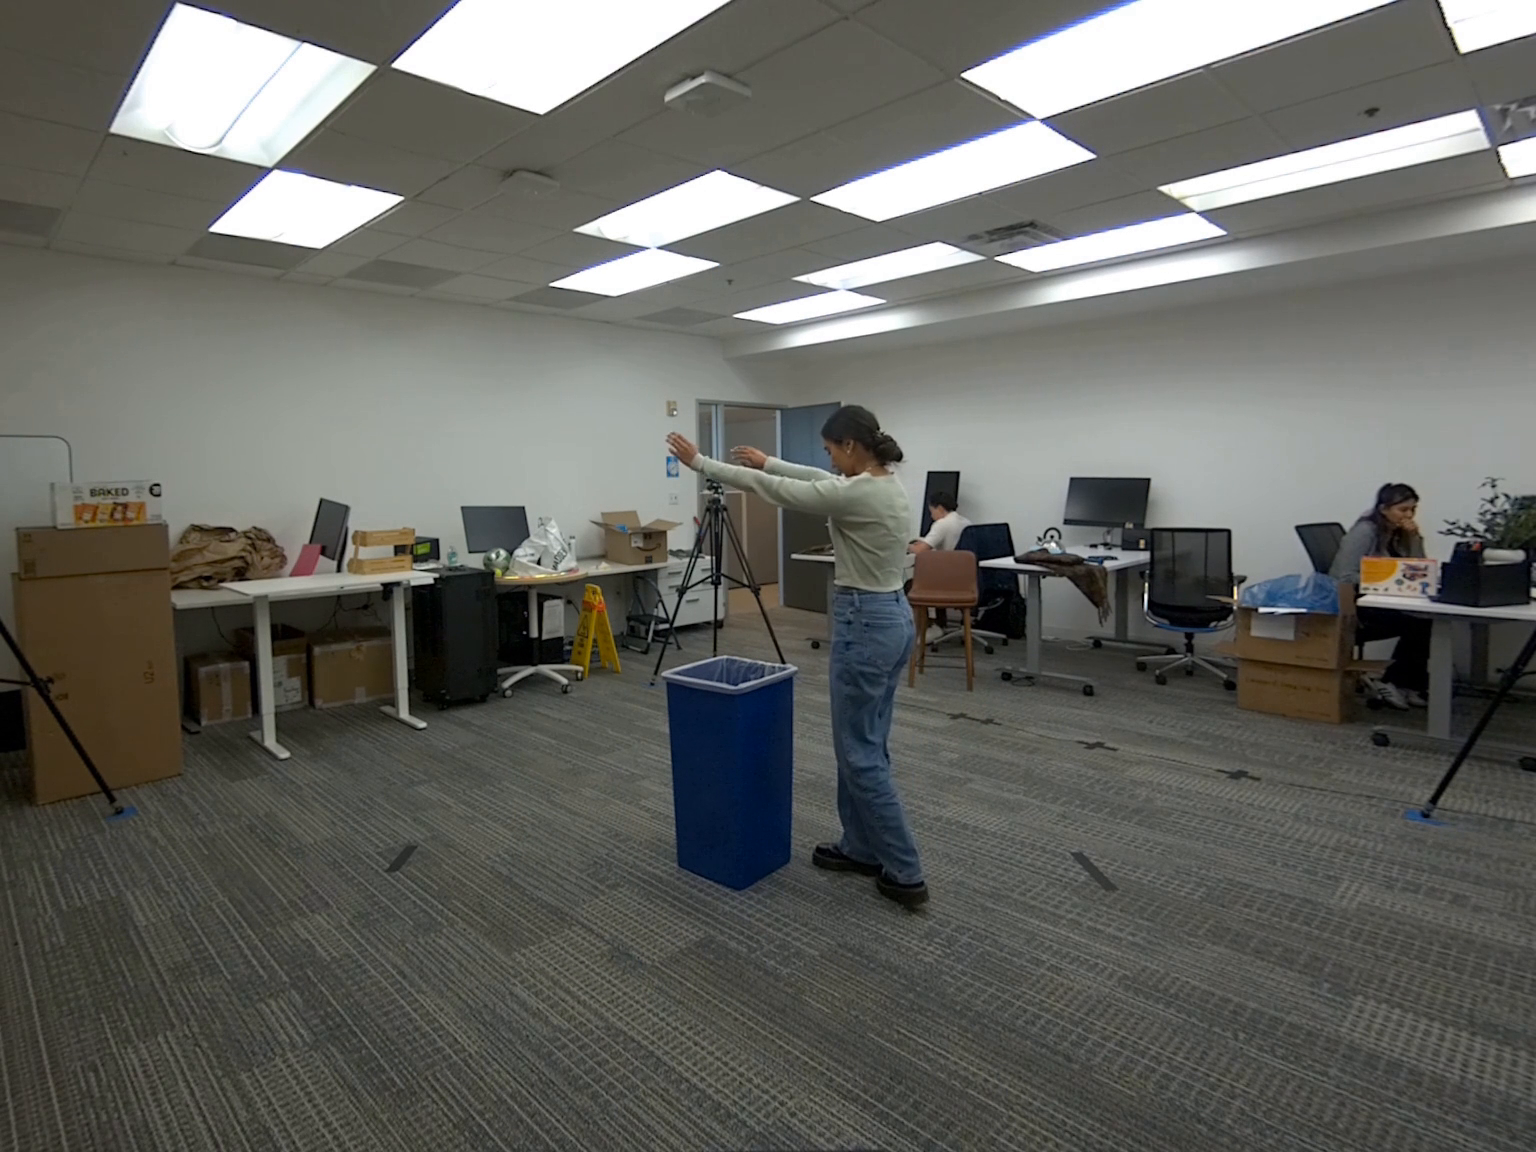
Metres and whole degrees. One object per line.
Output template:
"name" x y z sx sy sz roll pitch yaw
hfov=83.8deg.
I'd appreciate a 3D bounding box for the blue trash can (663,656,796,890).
"blue trash can" -0.126 0.688 3.072 0.389 0.711 0.364 2 5 39
